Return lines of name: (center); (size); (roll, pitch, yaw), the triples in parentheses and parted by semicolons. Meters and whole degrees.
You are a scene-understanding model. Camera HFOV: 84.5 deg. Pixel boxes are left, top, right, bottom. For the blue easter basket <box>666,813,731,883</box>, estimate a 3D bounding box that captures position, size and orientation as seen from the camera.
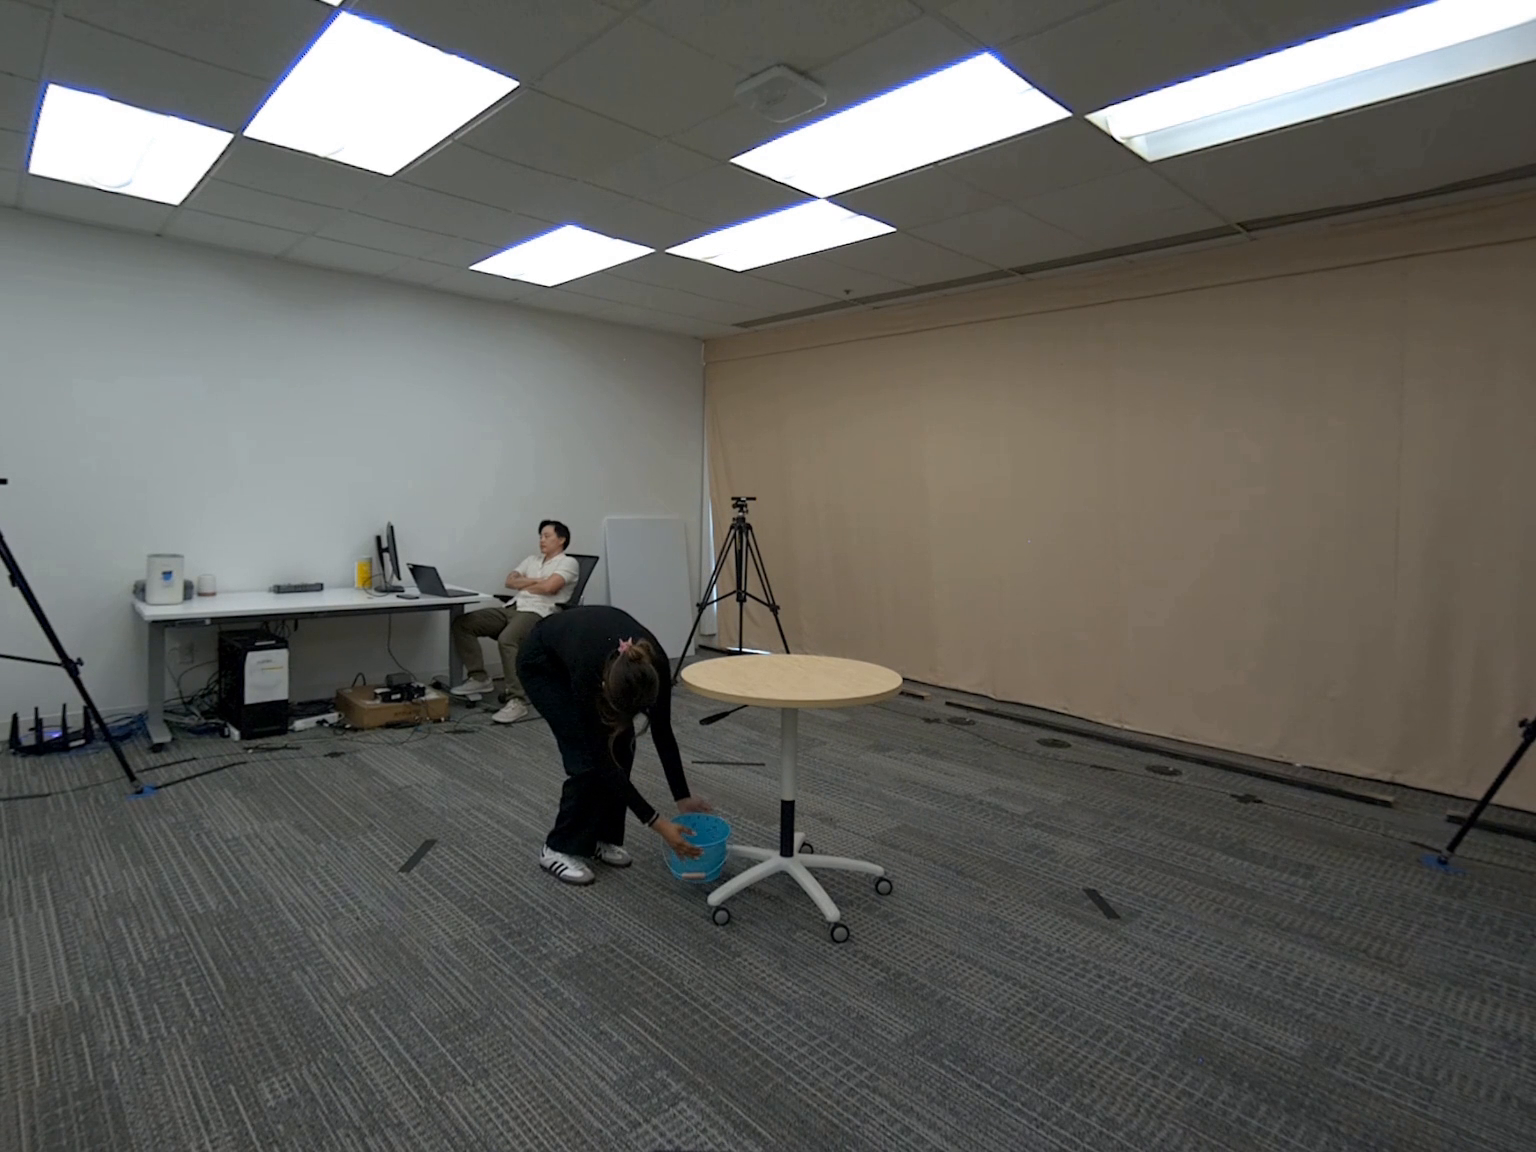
blue easter basket: (-0.265, 0.965, 2.941); (0.243, 0.155, 0.245); (3, 8, -2)
